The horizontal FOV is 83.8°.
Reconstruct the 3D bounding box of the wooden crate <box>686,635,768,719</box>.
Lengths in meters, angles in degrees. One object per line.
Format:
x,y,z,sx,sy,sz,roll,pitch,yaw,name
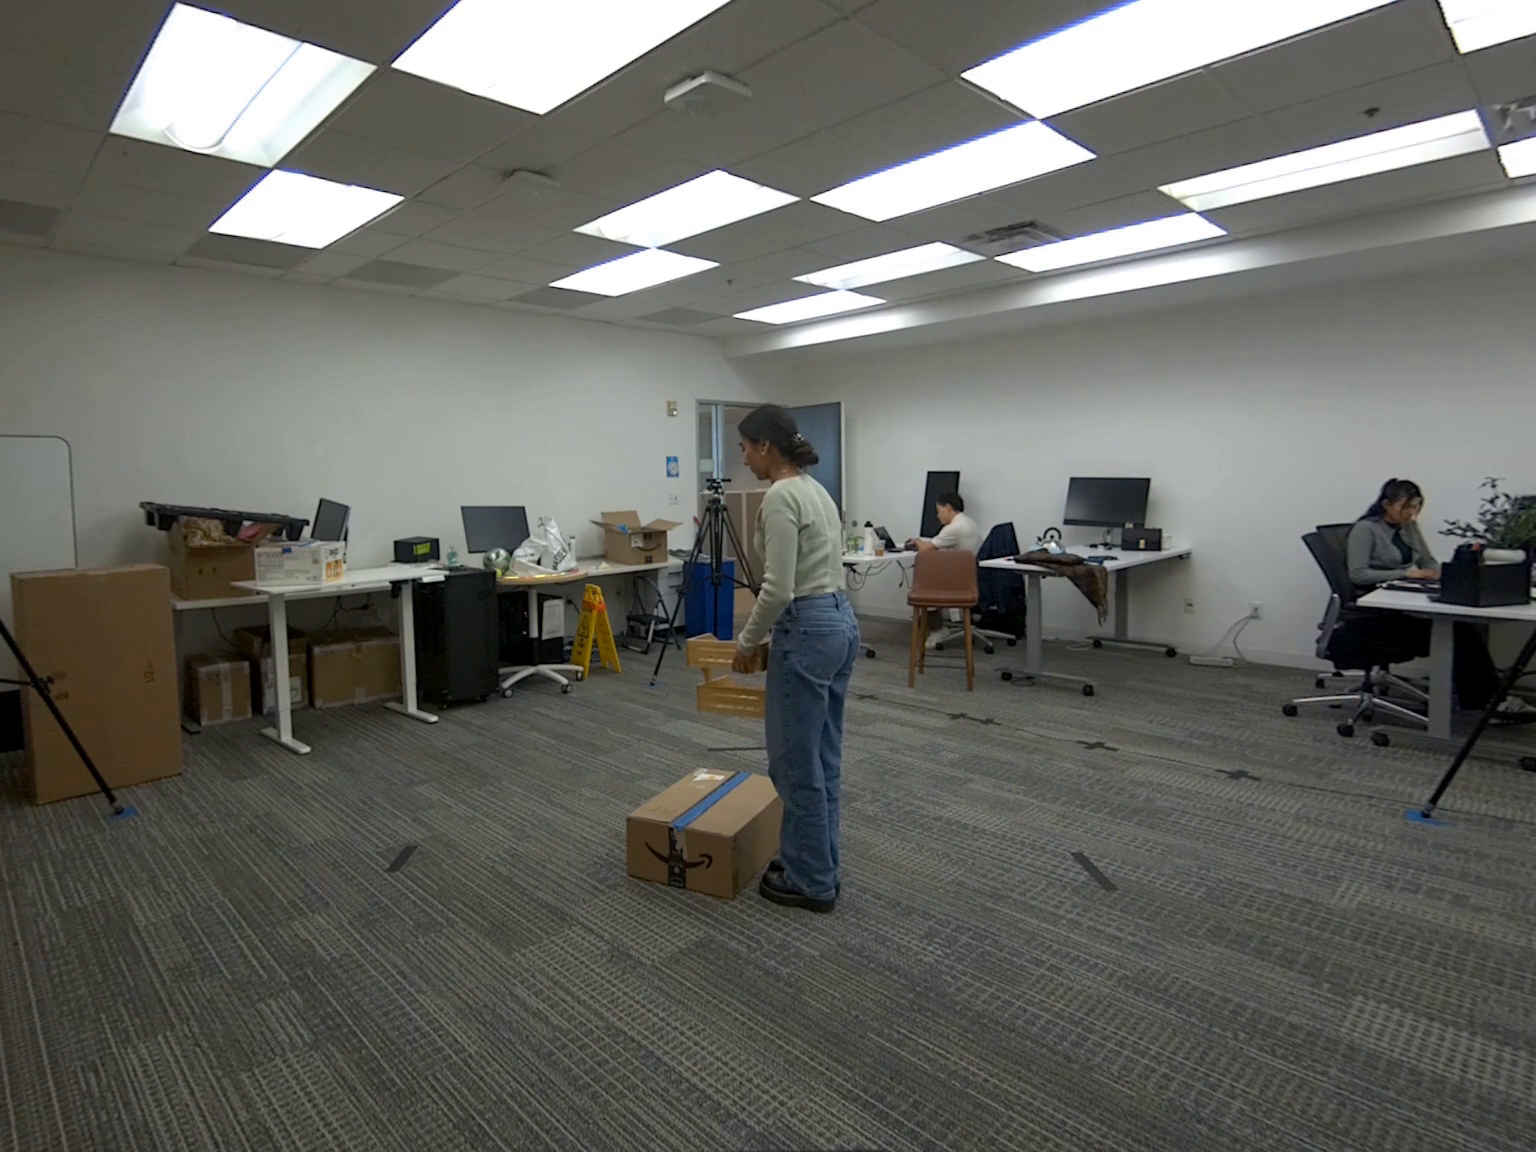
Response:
-0.077,0.333,2.998,0.333,0.273,0.295,-1,4,31,wooden crate
